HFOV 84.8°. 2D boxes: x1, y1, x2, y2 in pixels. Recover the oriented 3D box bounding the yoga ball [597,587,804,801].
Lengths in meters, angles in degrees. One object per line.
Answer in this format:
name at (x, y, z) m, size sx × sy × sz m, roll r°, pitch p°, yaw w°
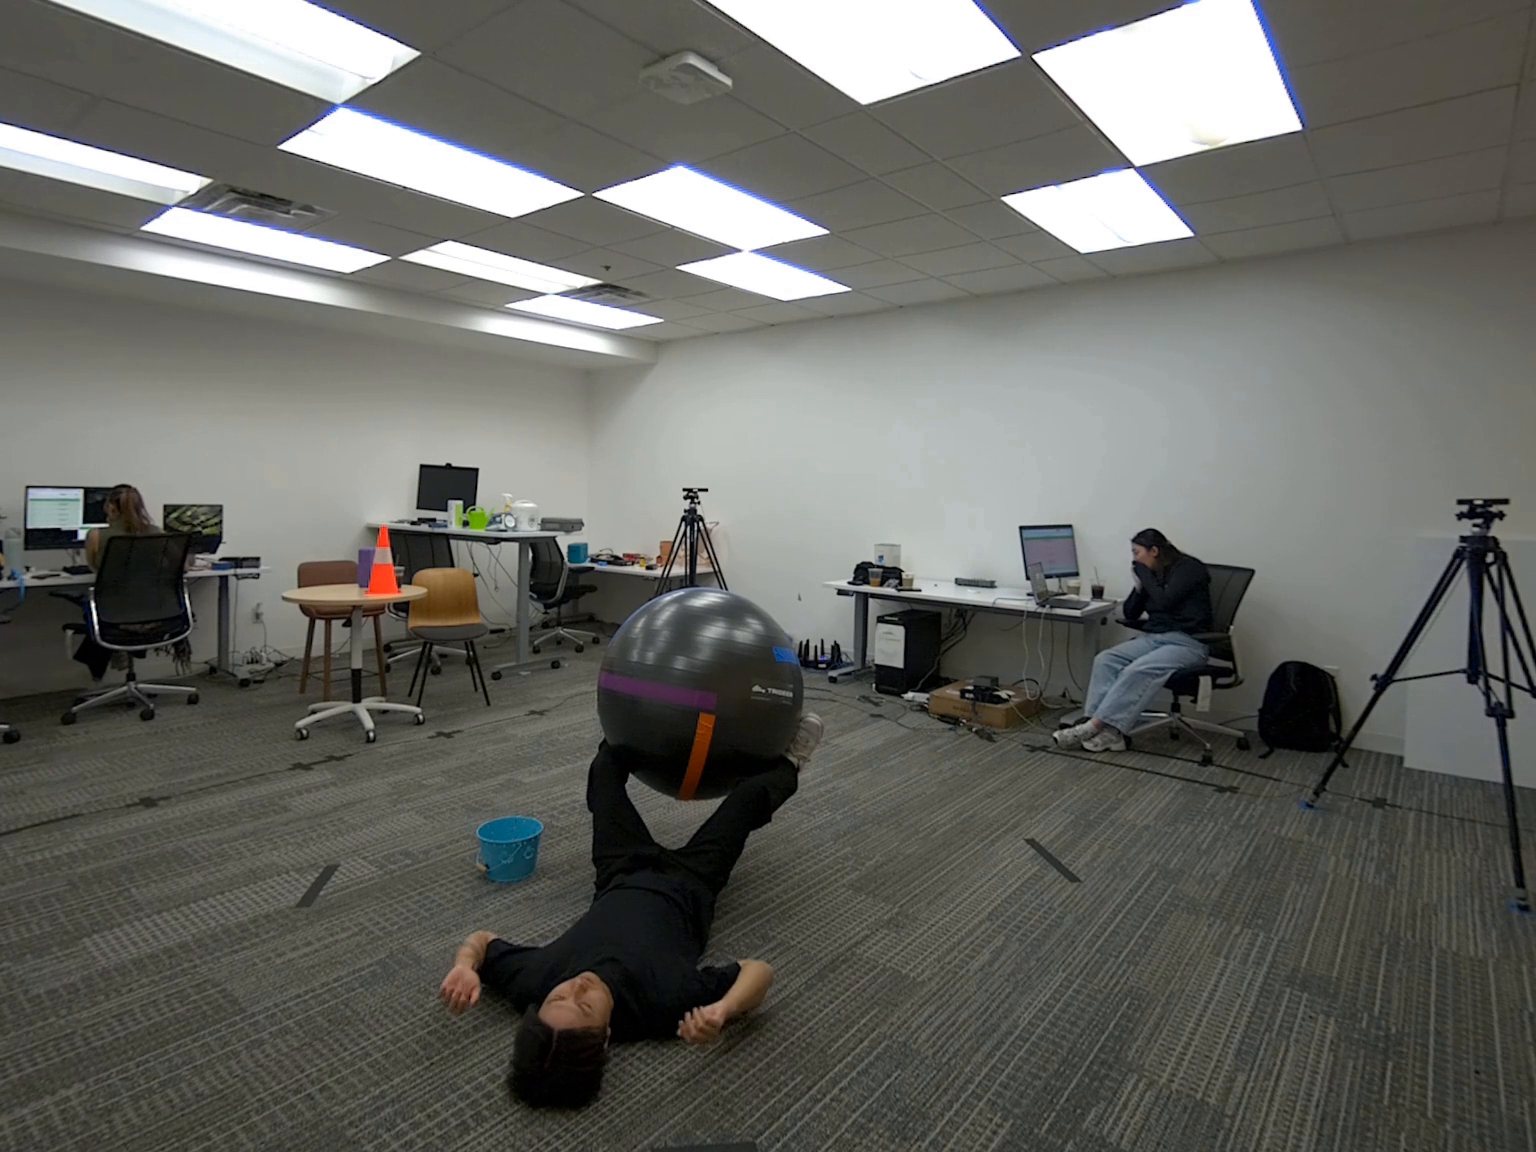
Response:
yoga ball at (-0.262, 0.428, 3.118) m, size 0.757 × 0.755 × 0.762 m, roll 1°, pitch 4°, yaw -2°
